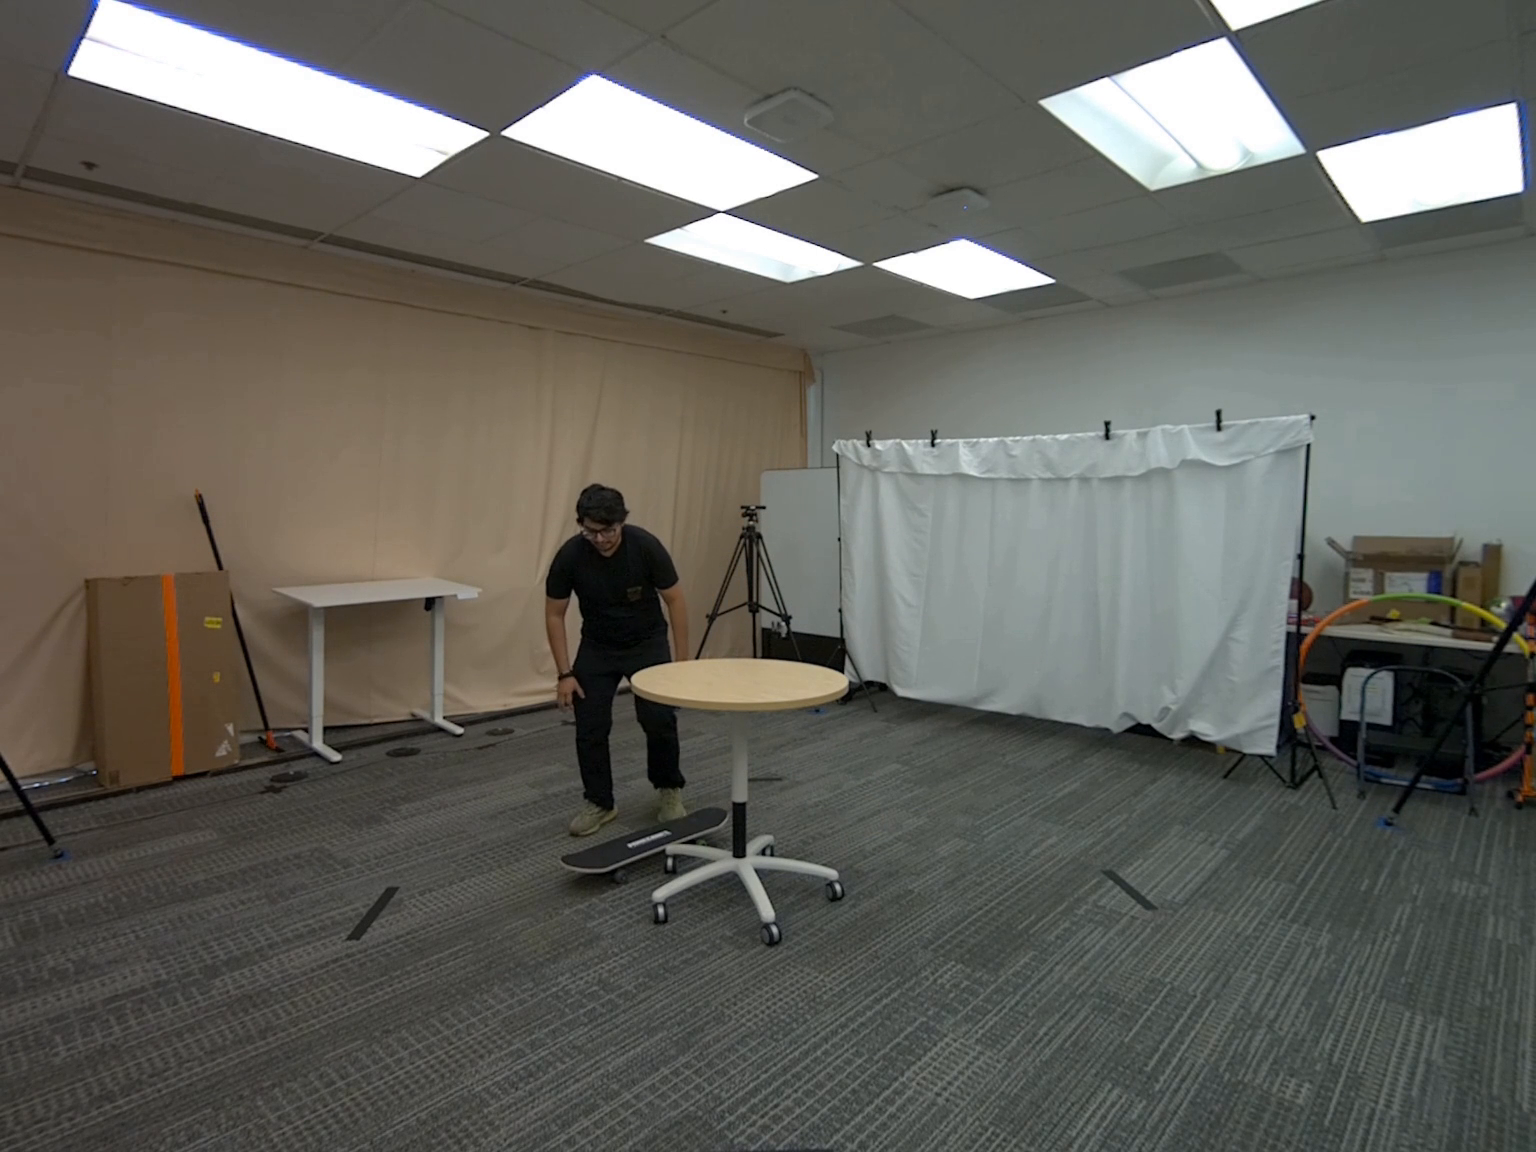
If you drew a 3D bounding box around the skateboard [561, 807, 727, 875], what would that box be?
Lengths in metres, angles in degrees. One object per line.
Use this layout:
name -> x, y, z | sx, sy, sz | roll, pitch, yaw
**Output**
skateboard -> -0.466, 1.065, 3.302 | 0.761, 0.110, 0.200 | -5, 5, -44
